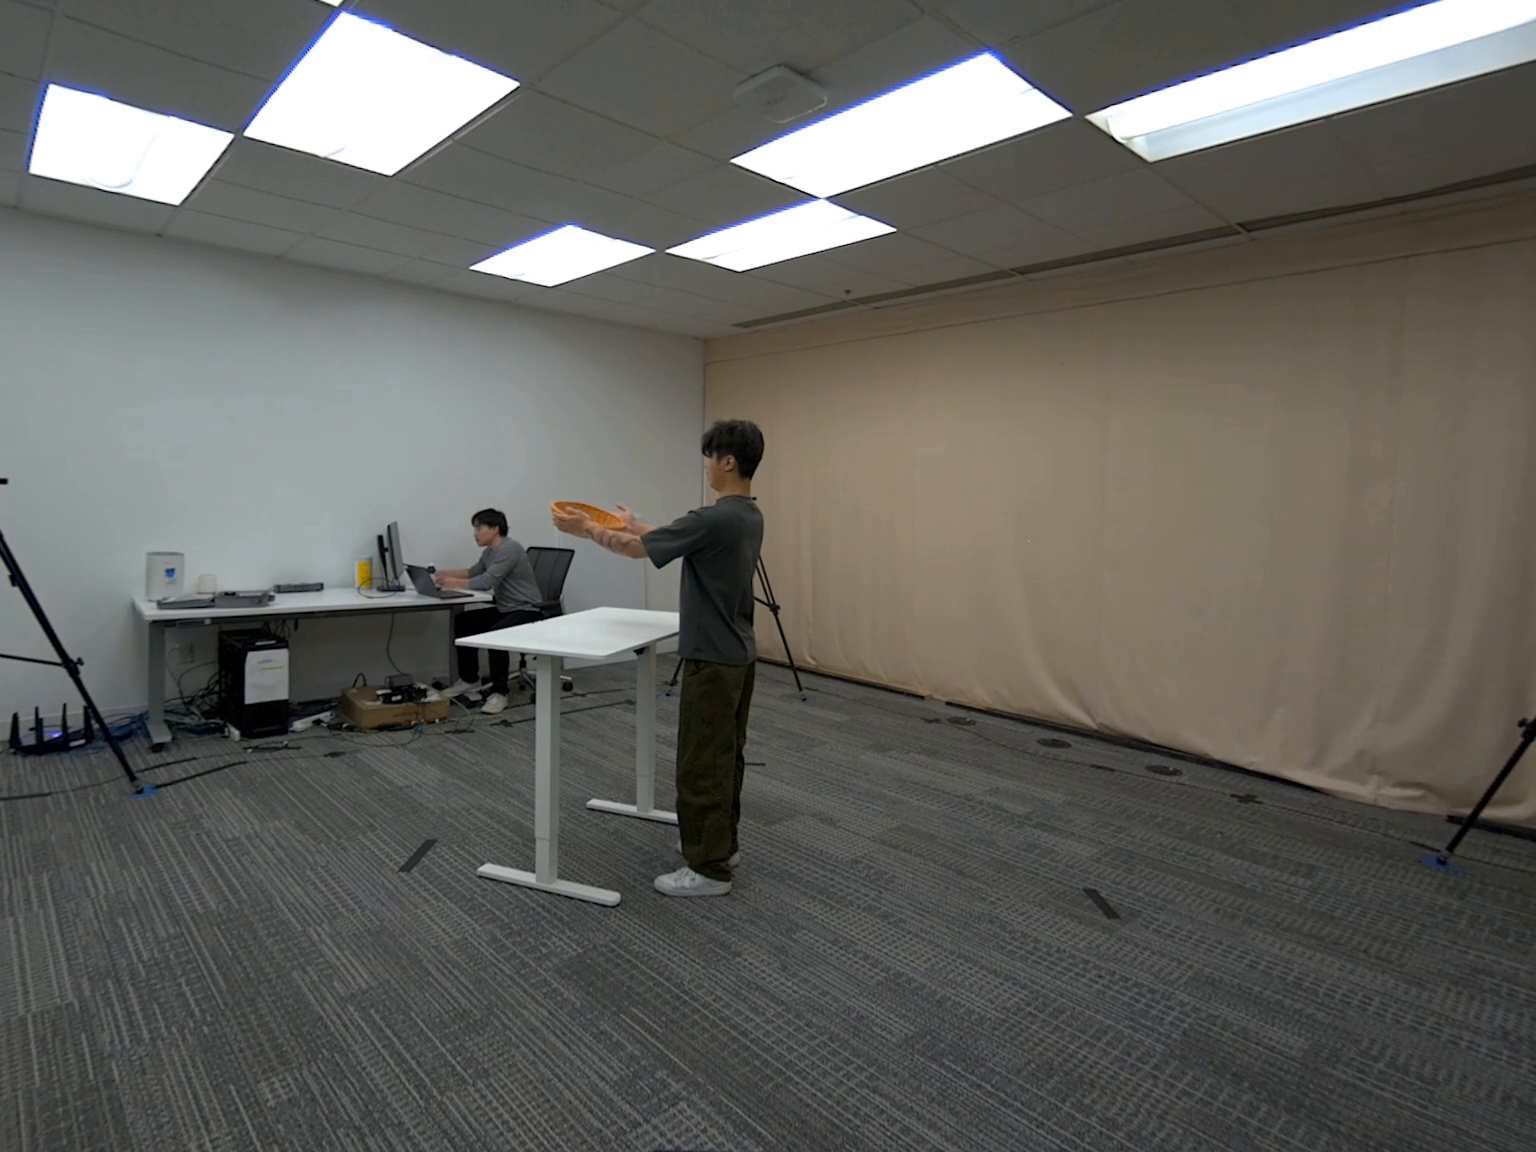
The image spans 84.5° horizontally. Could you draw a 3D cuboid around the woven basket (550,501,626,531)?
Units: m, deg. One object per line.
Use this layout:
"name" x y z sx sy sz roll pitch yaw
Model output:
"woven basket" -0.688 -0.206 3.262 0.259 0.073 0.342 28 14 31
